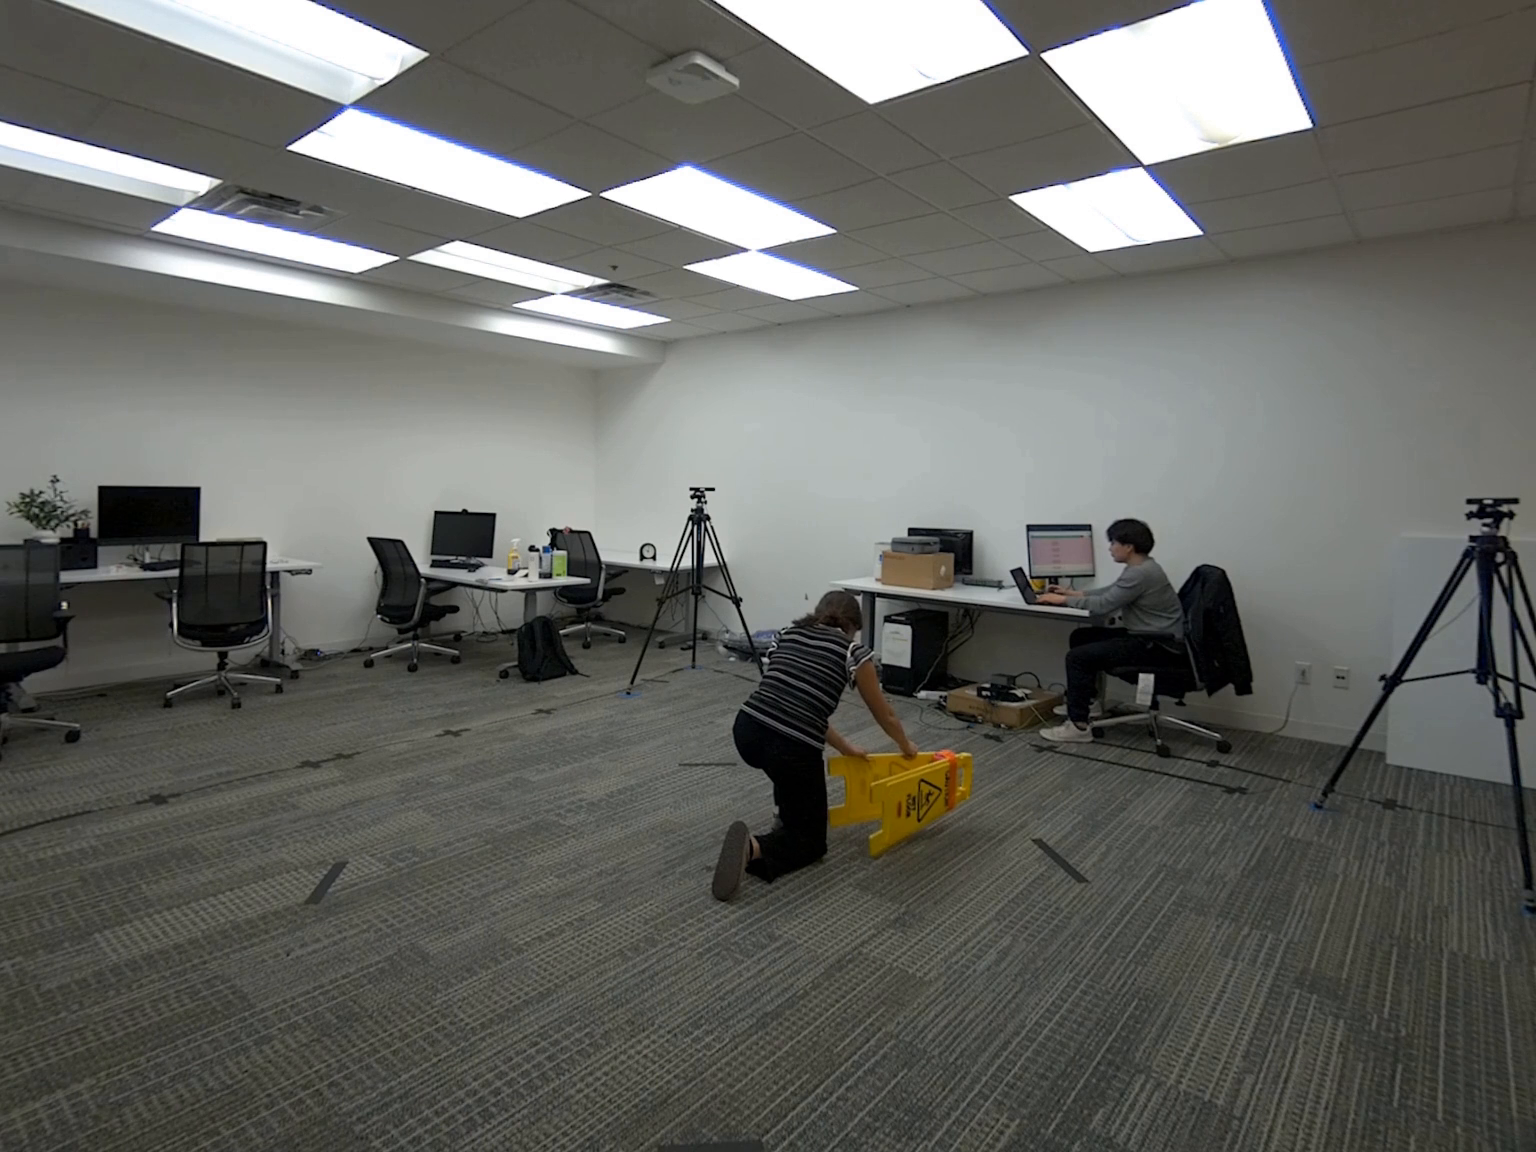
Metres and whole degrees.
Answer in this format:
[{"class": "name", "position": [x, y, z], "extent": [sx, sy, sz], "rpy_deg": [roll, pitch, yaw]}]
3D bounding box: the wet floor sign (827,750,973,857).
[{"class": "wet floor sign", "position": [0.579, 0.871, 3.444], "extent": [0.630, 0.280, 0.299], "rpy_deg": [-4, 9, -29]}]
